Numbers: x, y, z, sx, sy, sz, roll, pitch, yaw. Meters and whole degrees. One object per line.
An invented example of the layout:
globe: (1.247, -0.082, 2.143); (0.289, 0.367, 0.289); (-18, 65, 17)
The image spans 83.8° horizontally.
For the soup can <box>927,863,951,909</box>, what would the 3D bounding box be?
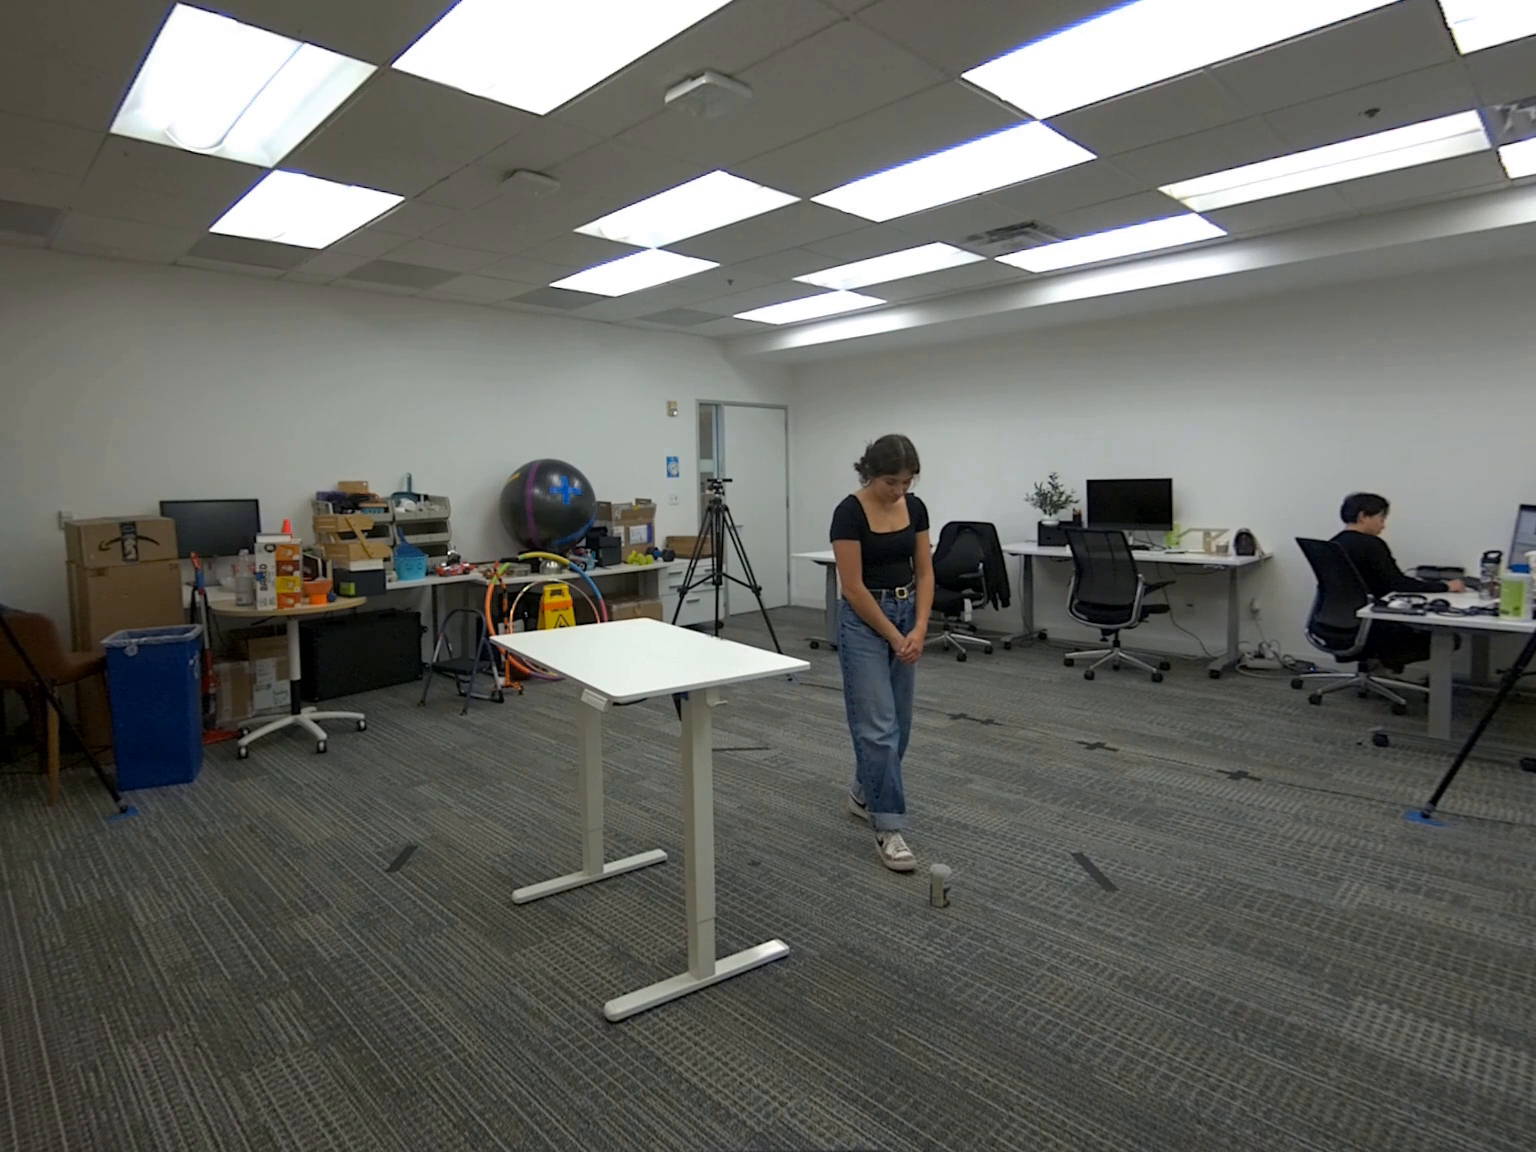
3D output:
soup can: (0.551, 1.006, 2.781); (0.067, 0.121, 0.067); (-1, 7, -1)
